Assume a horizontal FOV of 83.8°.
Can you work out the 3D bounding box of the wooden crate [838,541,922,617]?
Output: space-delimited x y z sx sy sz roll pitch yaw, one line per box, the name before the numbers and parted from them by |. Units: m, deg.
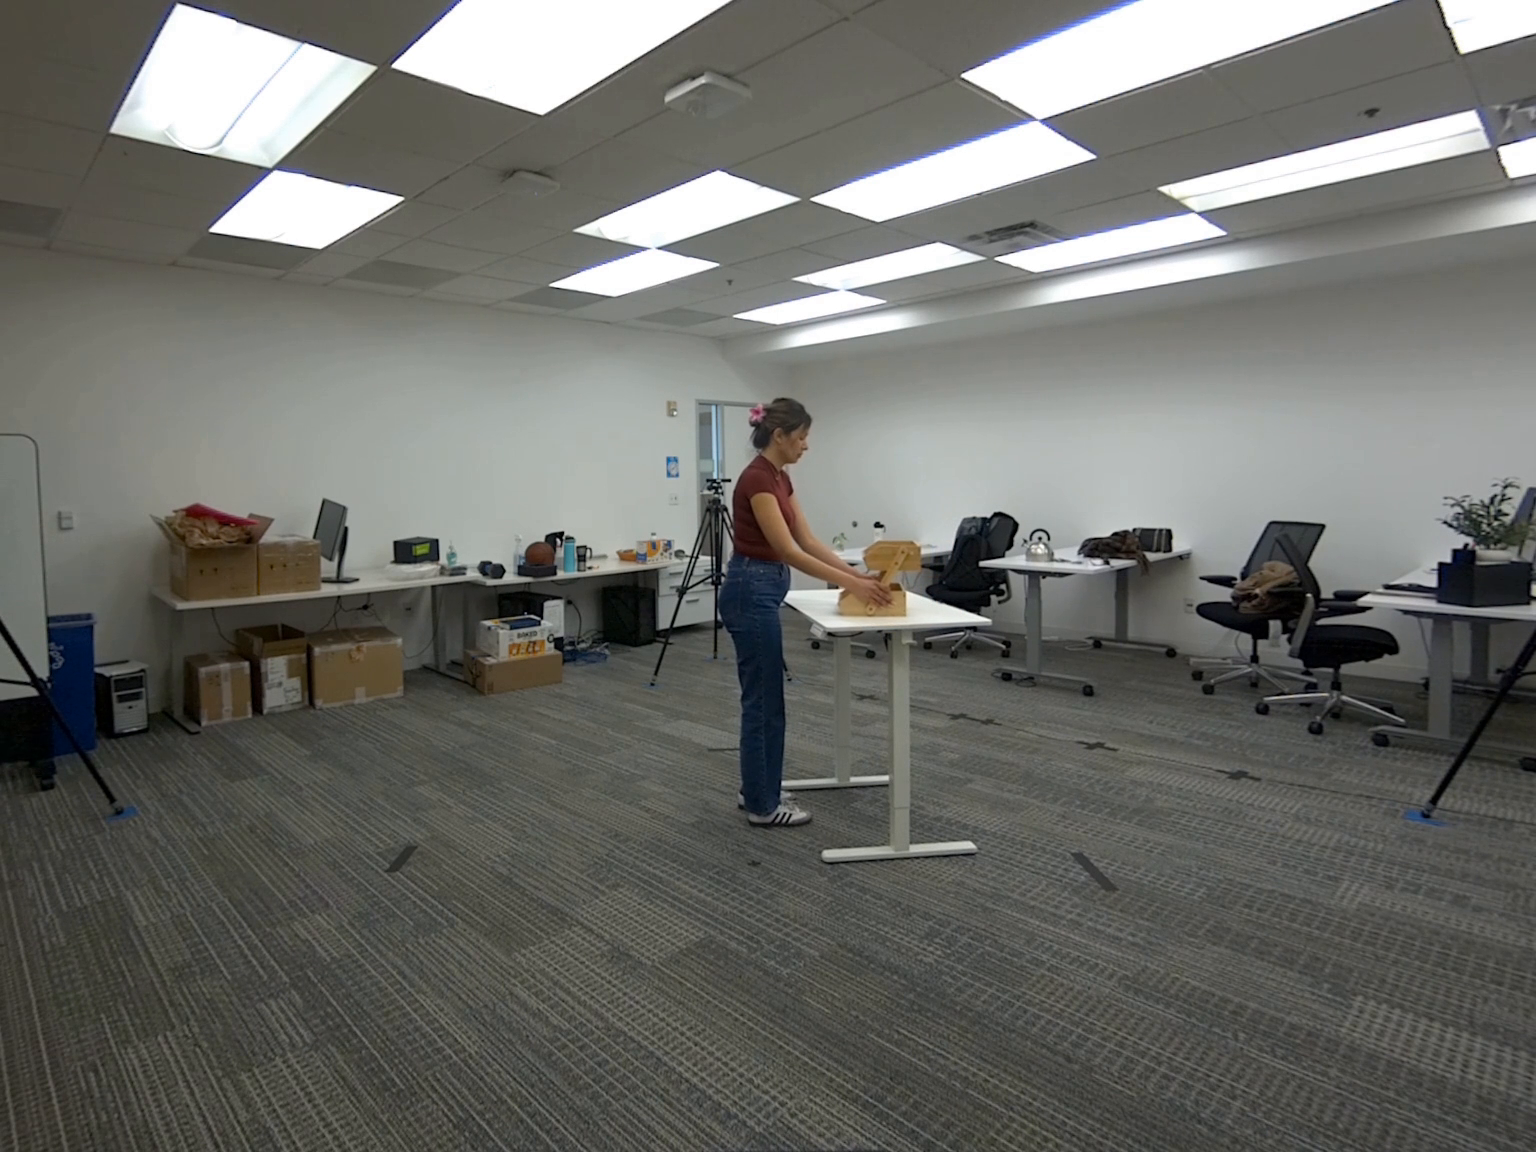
wooden crate | 0.418 0.006 3.292 0.304 0.272 0.323 -1 5 7
